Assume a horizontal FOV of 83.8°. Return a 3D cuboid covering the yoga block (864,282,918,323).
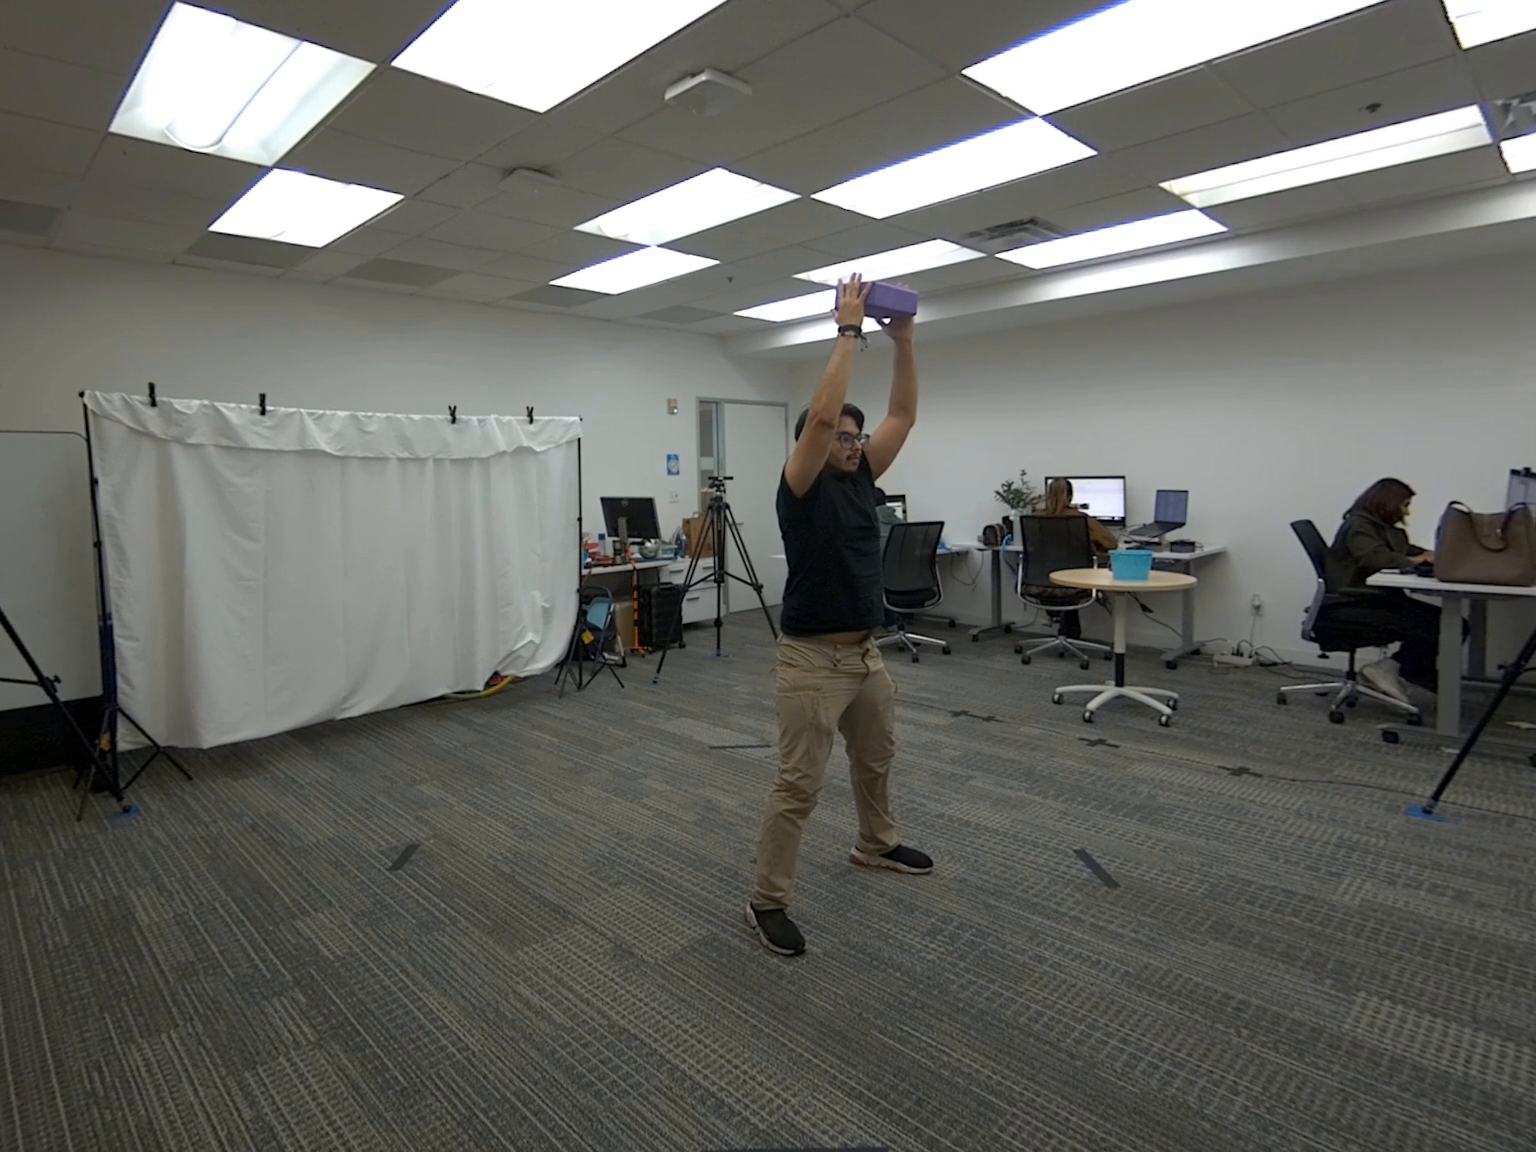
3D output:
[{"bbox_3d":[0.328,-0.821,2.542,0.223,0.076,0.154,-6,14,-44],"label":"yoga block"}]
